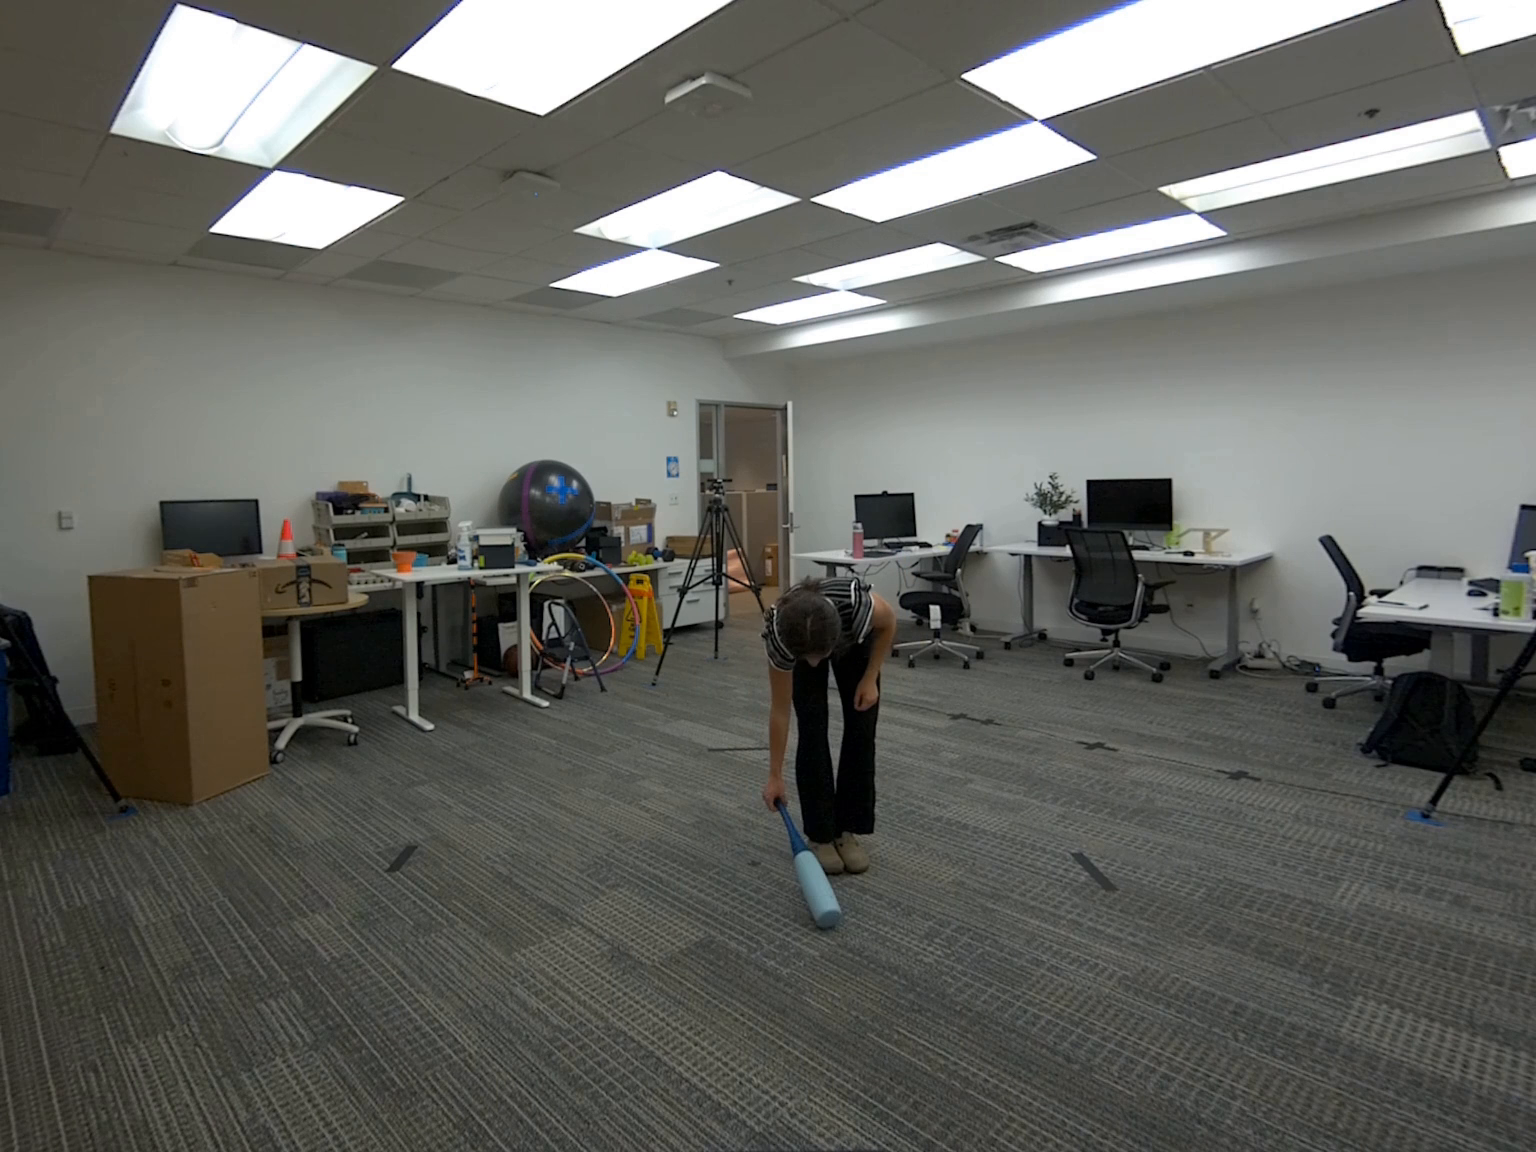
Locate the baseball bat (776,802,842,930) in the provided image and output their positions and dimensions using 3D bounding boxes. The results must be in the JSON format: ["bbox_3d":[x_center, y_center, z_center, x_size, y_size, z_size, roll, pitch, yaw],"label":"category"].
[{"bbox_3d":[0.123,0.934,2.859,0.088,0.087,0.561,-3,28,-16],"label":"baseball bat"}]
